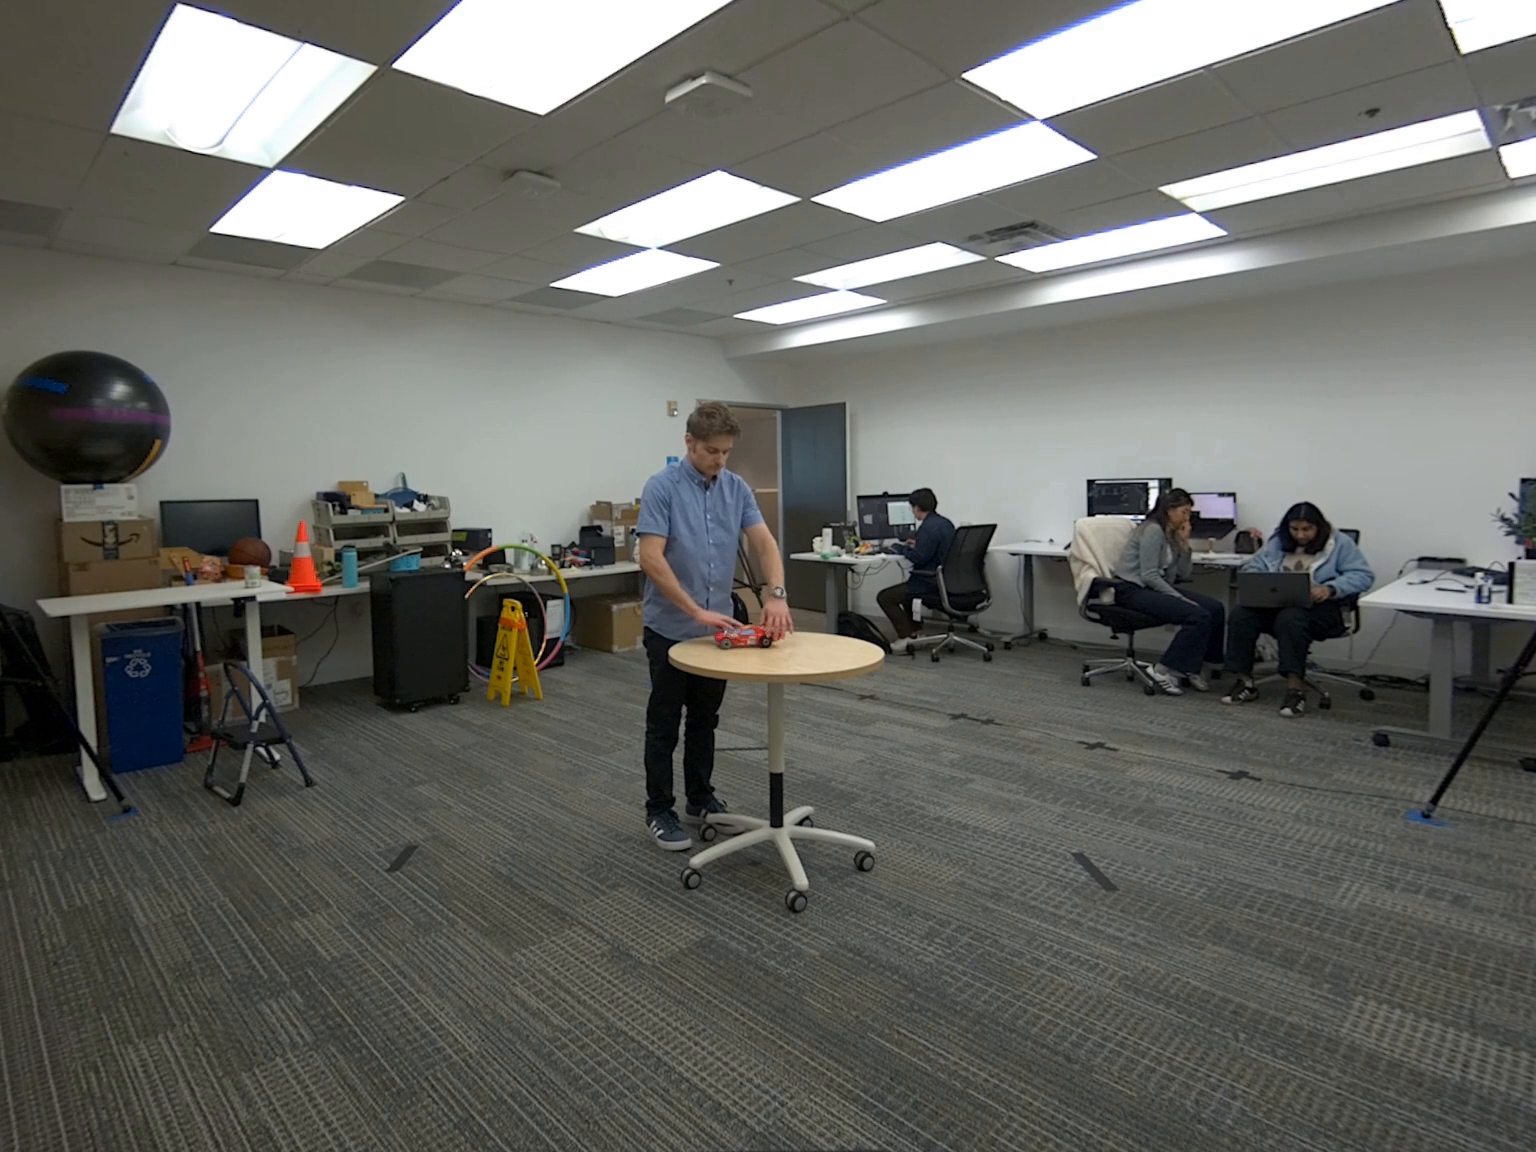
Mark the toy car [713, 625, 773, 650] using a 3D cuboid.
[{"bbox_3d":[-0.060,0.227,3.132,0.254,0.082,0.132,-11,9,-5],"label":"toy car"}]
